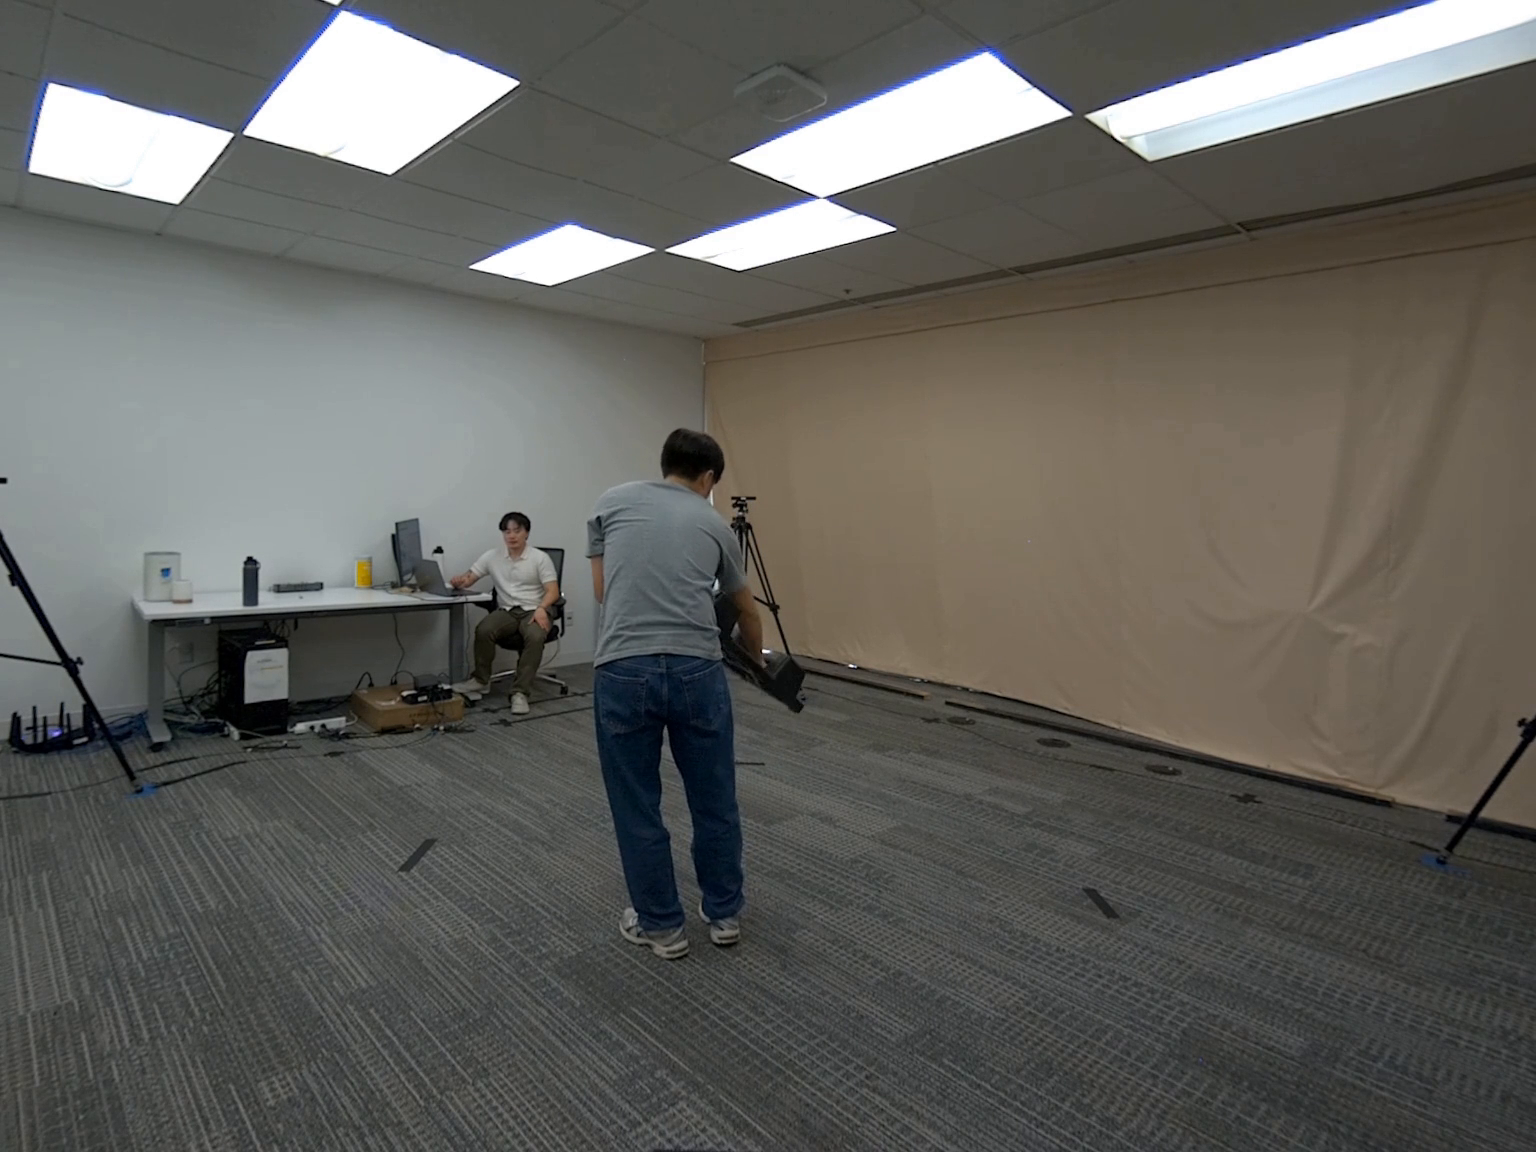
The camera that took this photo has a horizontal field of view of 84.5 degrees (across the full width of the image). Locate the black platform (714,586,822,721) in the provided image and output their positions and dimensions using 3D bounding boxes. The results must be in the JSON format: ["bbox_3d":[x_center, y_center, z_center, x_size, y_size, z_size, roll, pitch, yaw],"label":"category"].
[{"bbox_3d":[-0.248,0.171,3.135,0.588,0.143,0.828,47,-13,-31],"label":"black platform"}]
